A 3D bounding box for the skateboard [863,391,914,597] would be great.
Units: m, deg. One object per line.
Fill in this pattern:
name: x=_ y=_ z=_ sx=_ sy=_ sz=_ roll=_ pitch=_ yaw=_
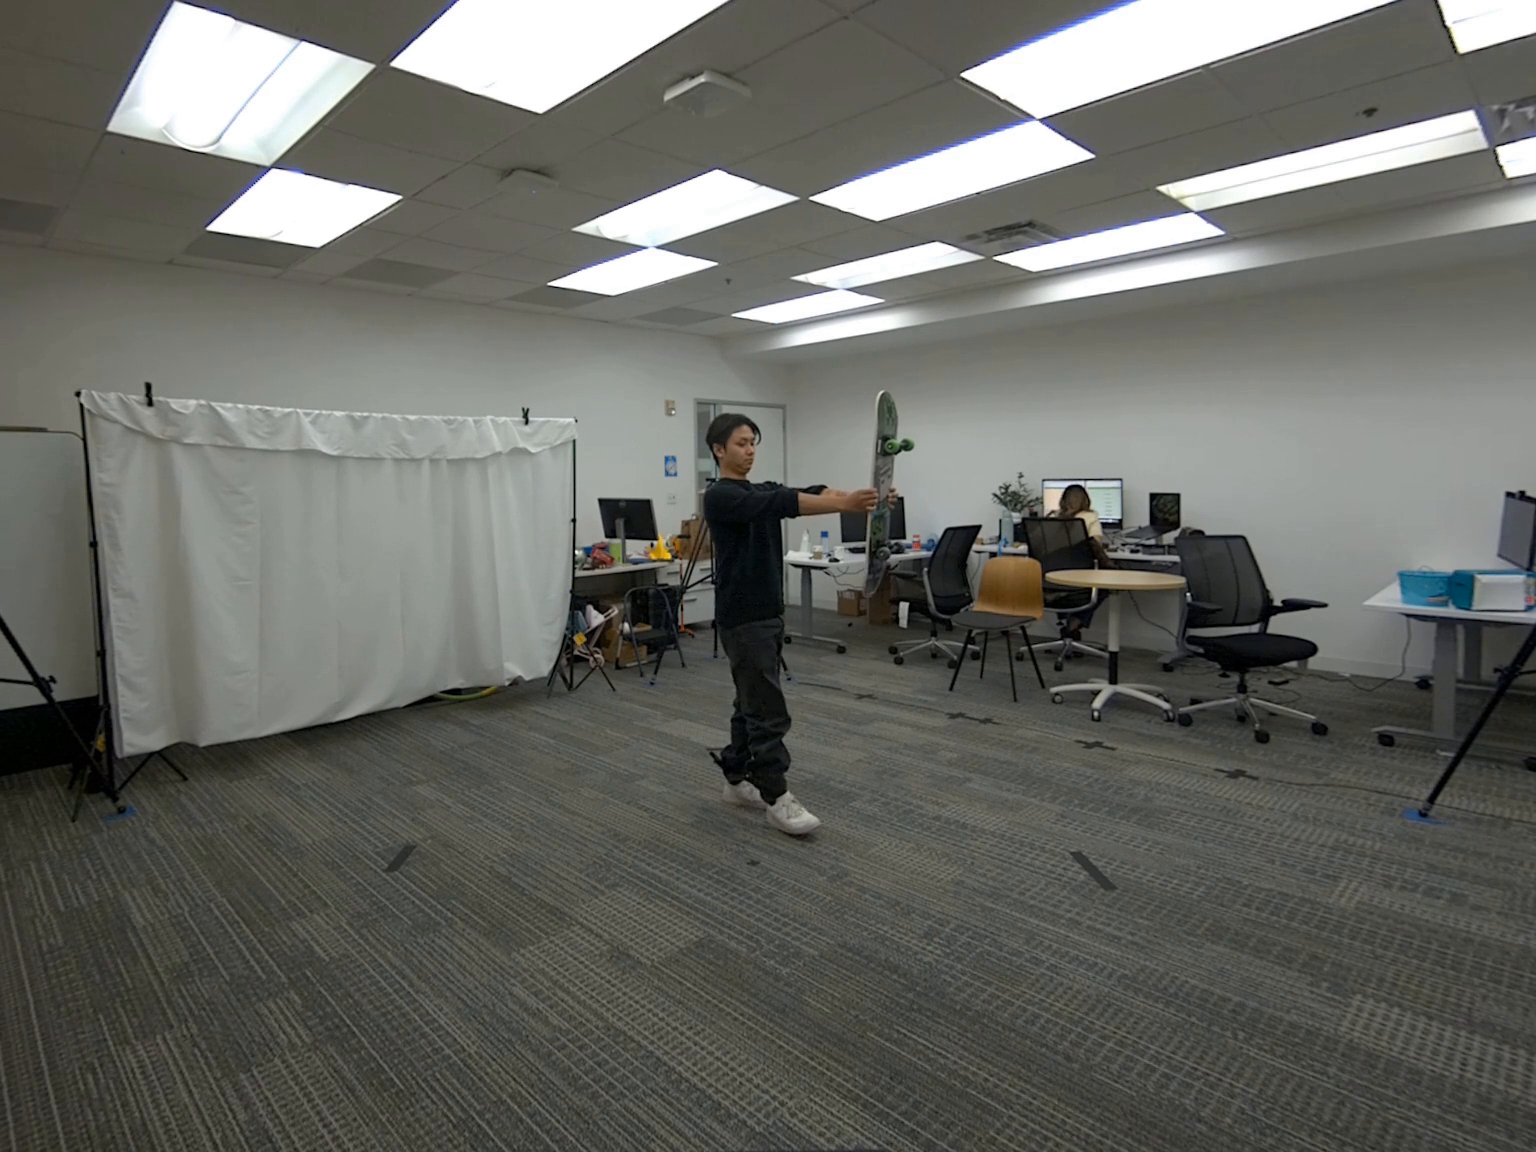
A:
skateboard: x=0.451 y=-0.292 z=3.213 sx=0.113 sy=0.778 sz=0.189 roll=9 pitch=12 yaw=31
